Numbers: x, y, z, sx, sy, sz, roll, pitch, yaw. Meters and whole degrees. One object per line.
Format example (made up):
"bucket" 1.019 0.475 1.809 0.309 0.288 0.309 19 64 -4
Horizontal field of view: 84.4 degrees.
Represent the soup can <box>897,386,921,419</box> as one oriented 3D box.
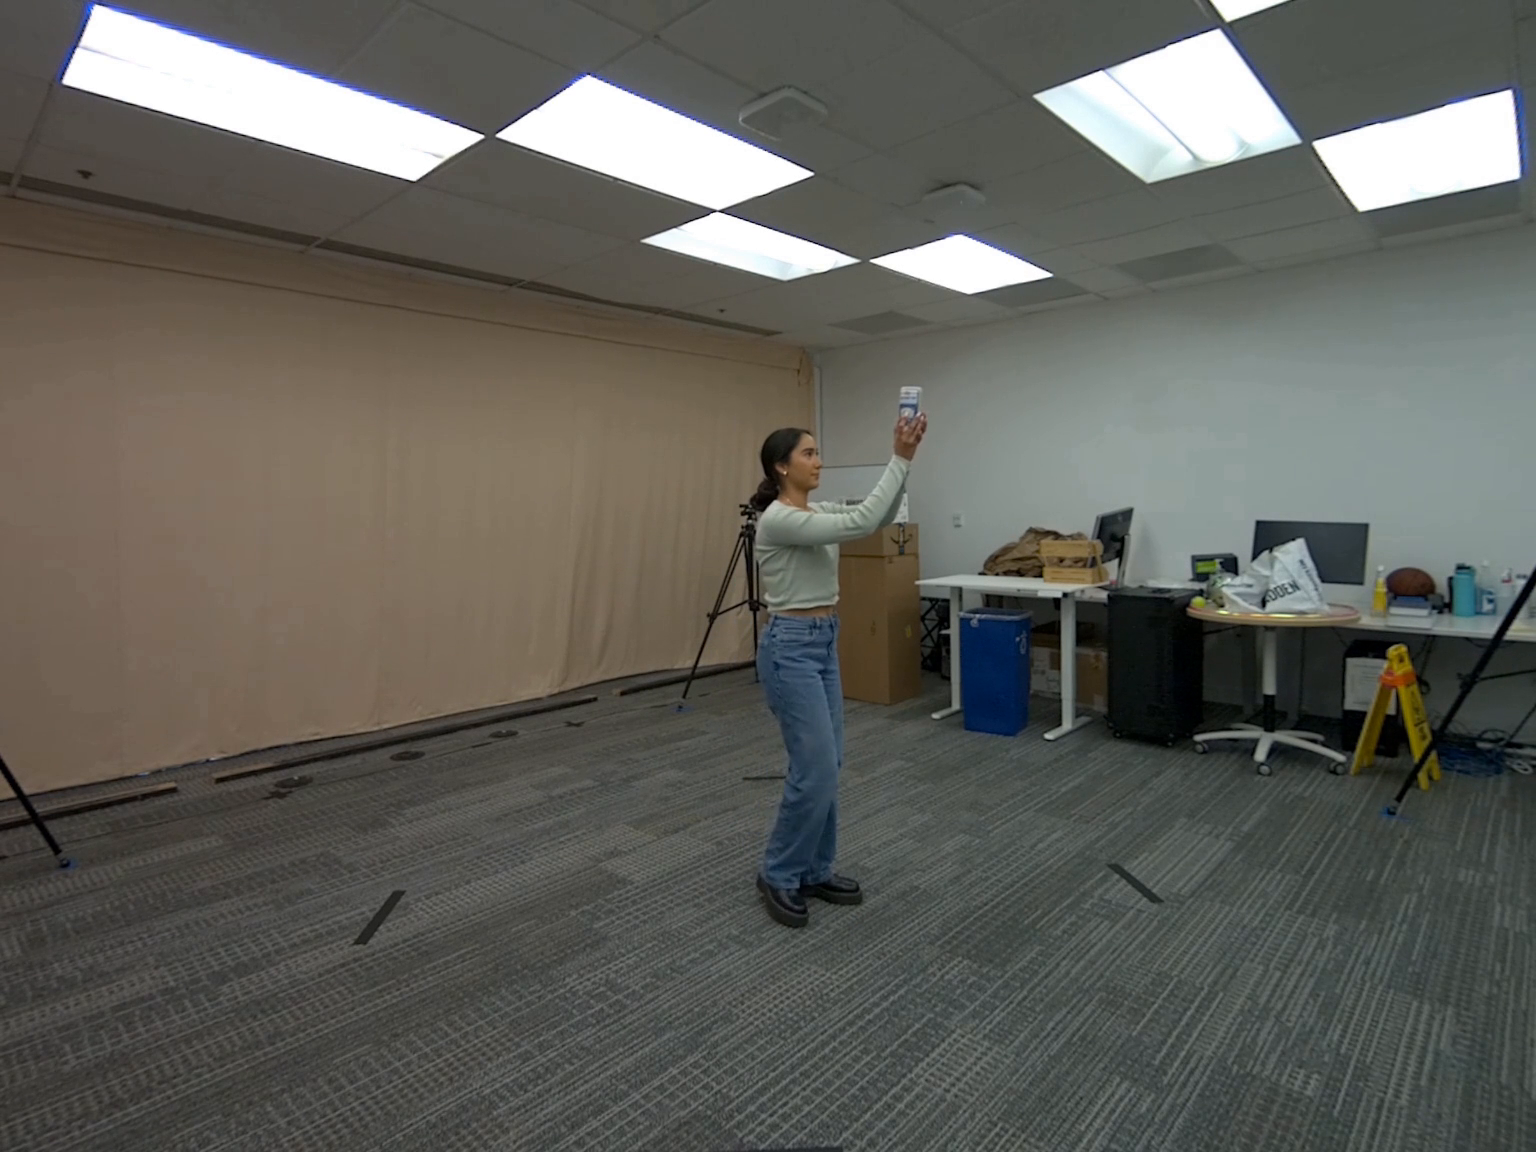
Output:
"soup can" 0.448 -0.538 2.674 0.067 0.121 0.067 3 5 -2
